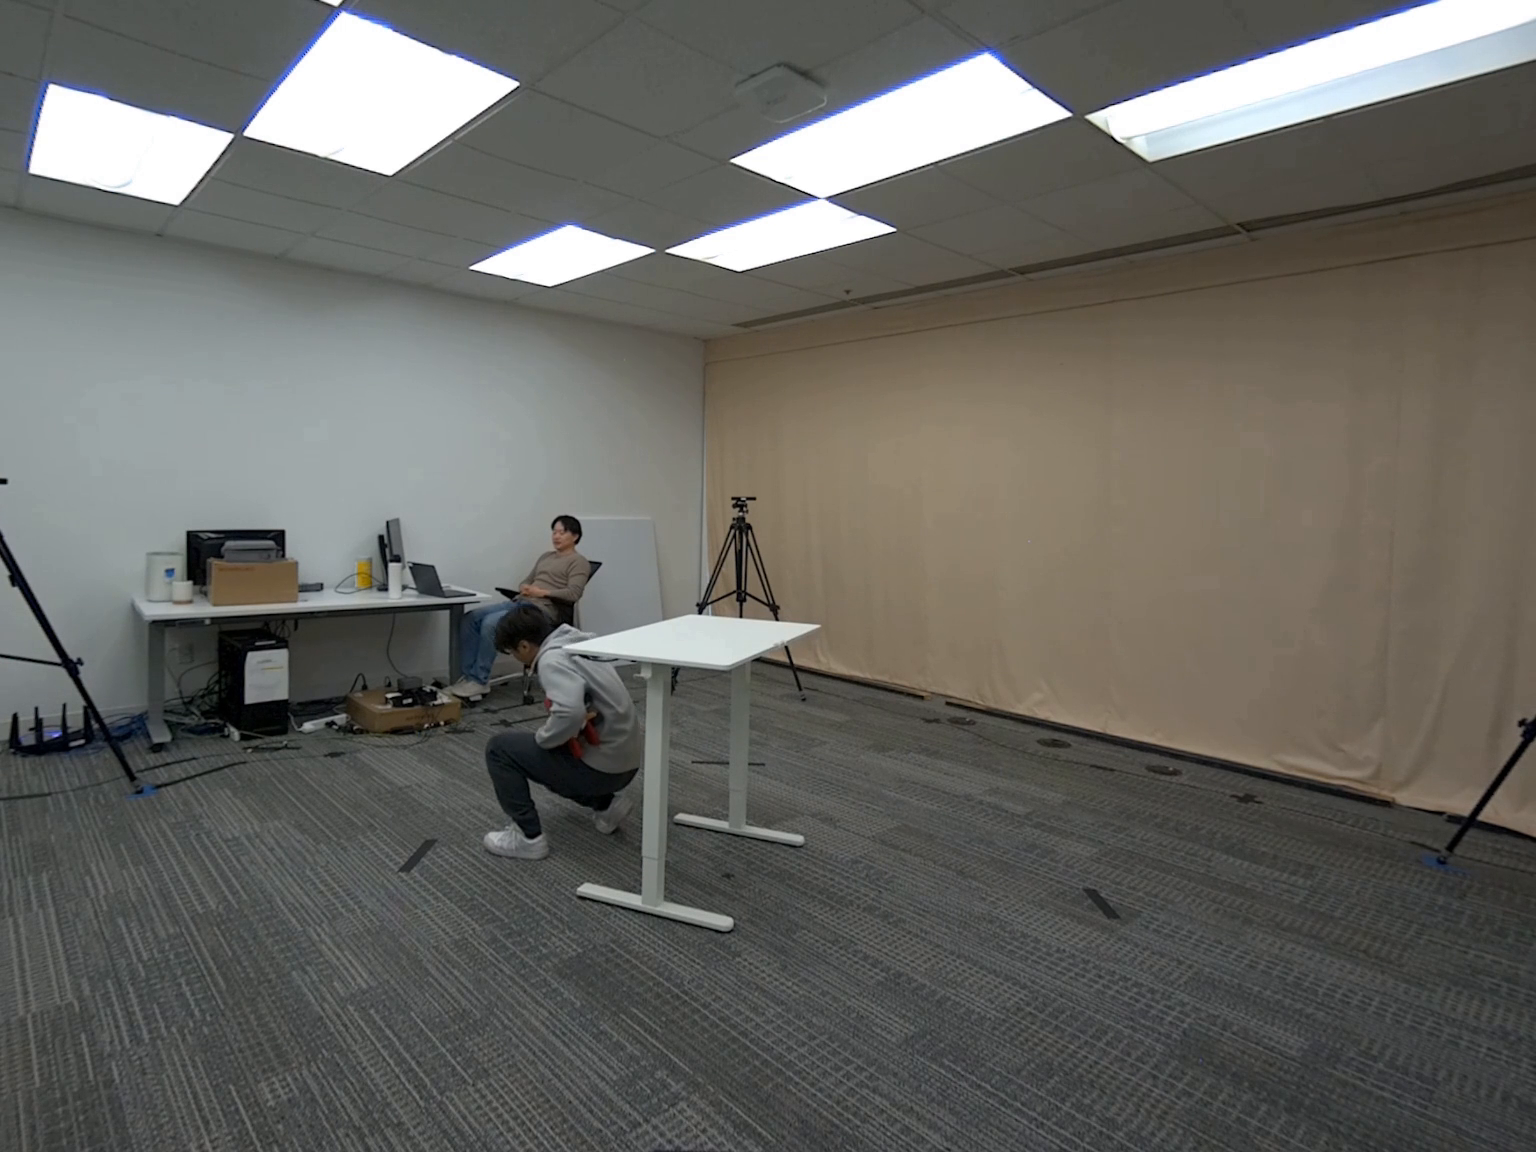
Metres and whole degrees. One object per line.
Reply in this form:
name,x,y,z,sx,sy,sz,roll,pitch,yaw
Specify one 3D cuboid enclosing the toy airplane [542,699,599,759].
toy airplane,-0.742,0.531,3.240,0.156,0.260,0.251,-35,-3,-17
